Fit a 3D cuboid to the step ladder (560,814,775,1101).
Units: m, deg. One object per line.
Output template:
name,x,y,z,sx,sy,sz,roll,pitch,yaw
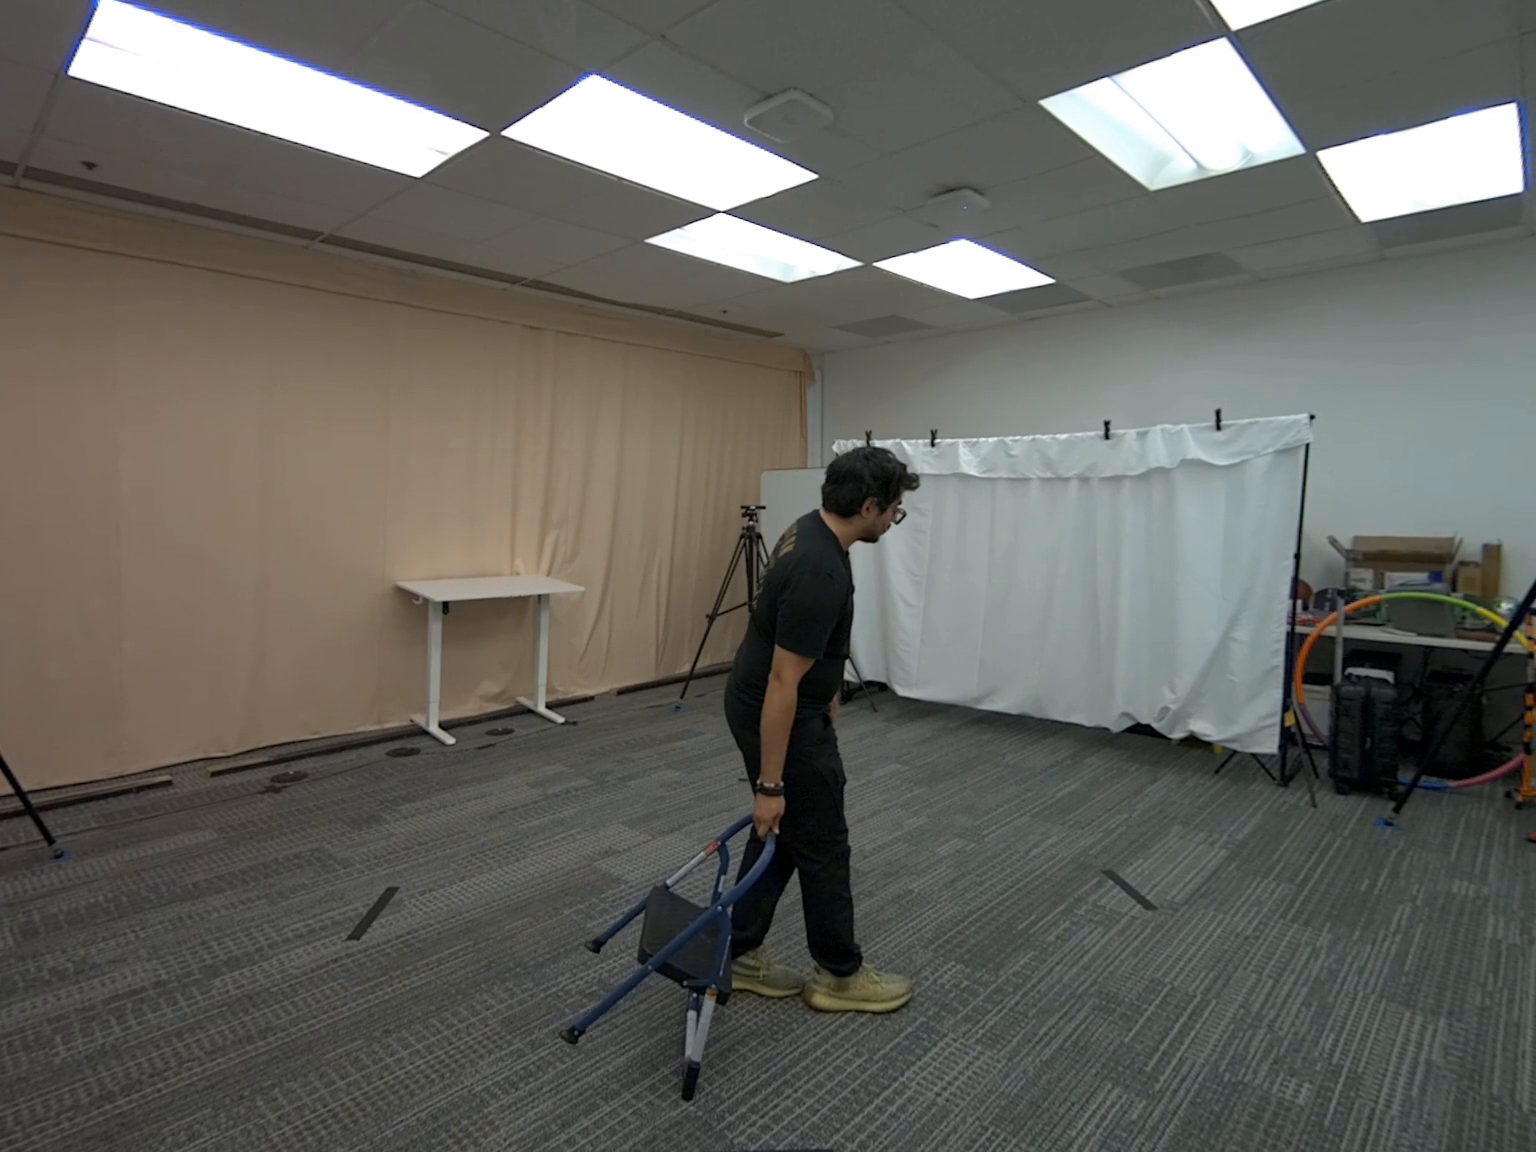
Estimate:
step ladder,-0.200,0.879,2.142,0.348,0.606,0.432,28,4,-3
